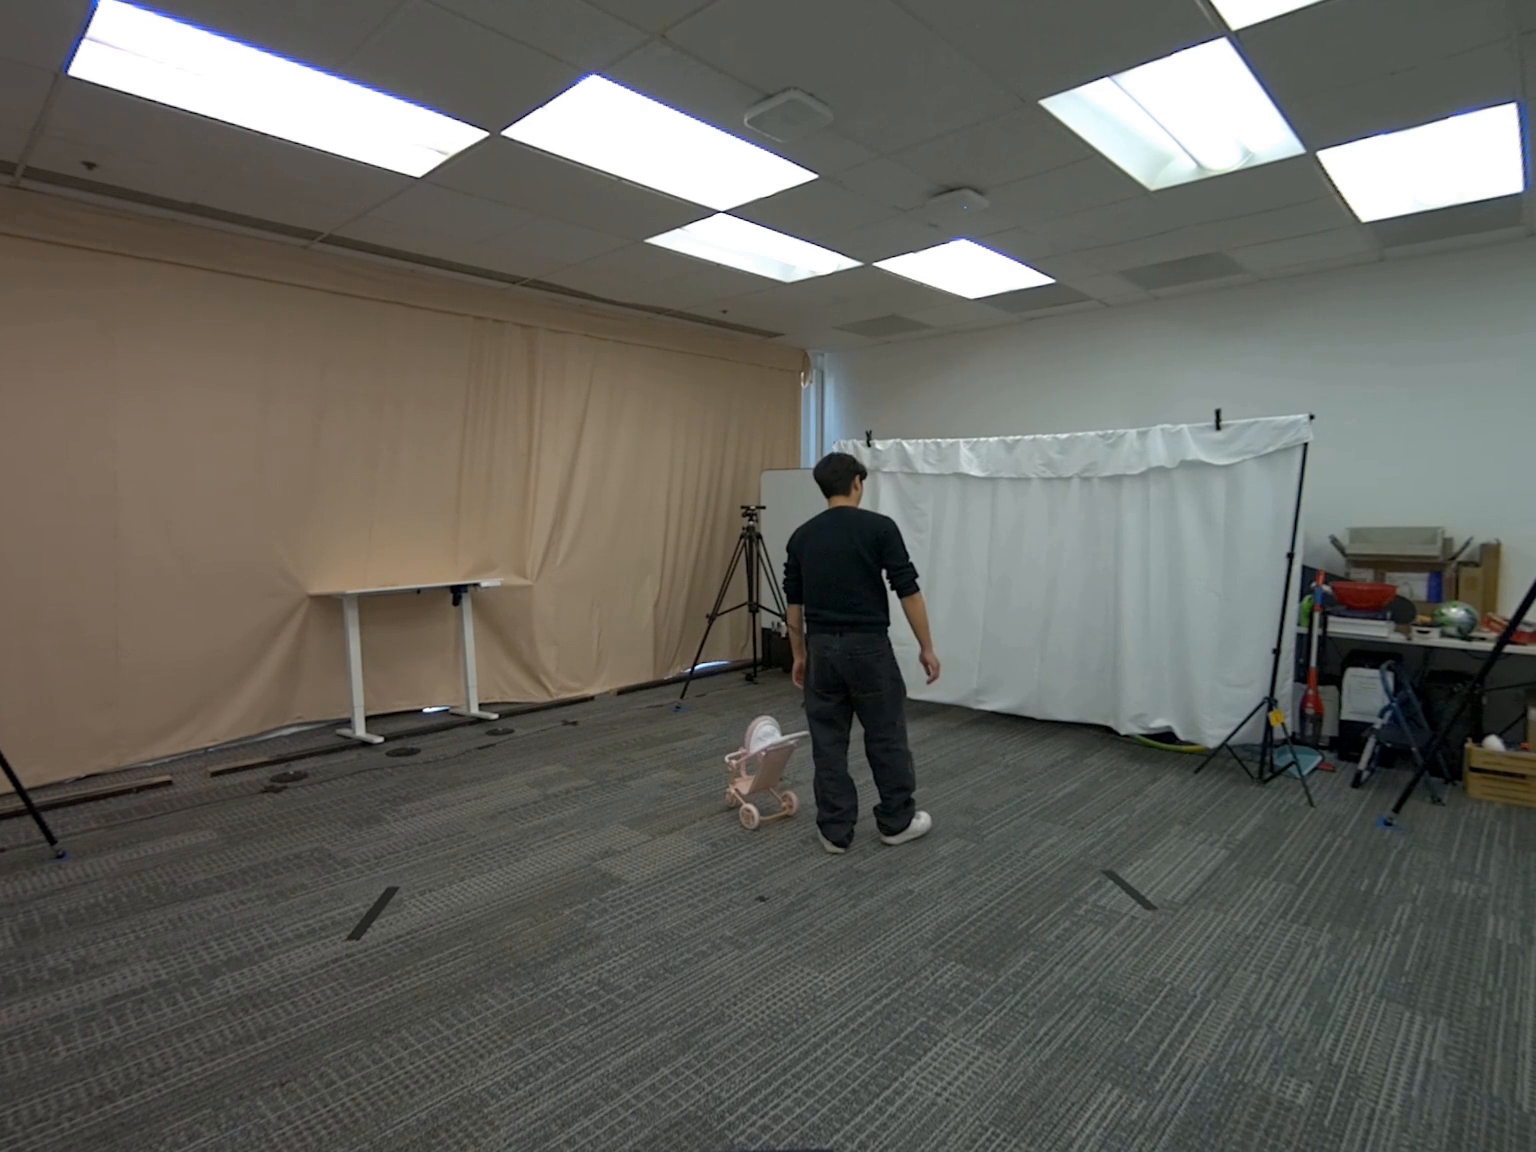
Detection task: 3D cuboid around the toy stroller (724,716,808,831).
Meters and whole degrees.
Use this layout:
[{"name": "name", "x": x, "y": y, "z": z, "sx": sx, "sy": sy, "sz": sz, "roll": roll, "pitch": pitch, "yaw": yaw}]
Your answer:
[{"name": "toy stroller", "x": -0.034, "y": 0.854, "z": 3.751, "sx": 0.273, "sy": 0.531, "sz": 0.354, "roll": -1, "pitch": 20, "yaw": -40}]
